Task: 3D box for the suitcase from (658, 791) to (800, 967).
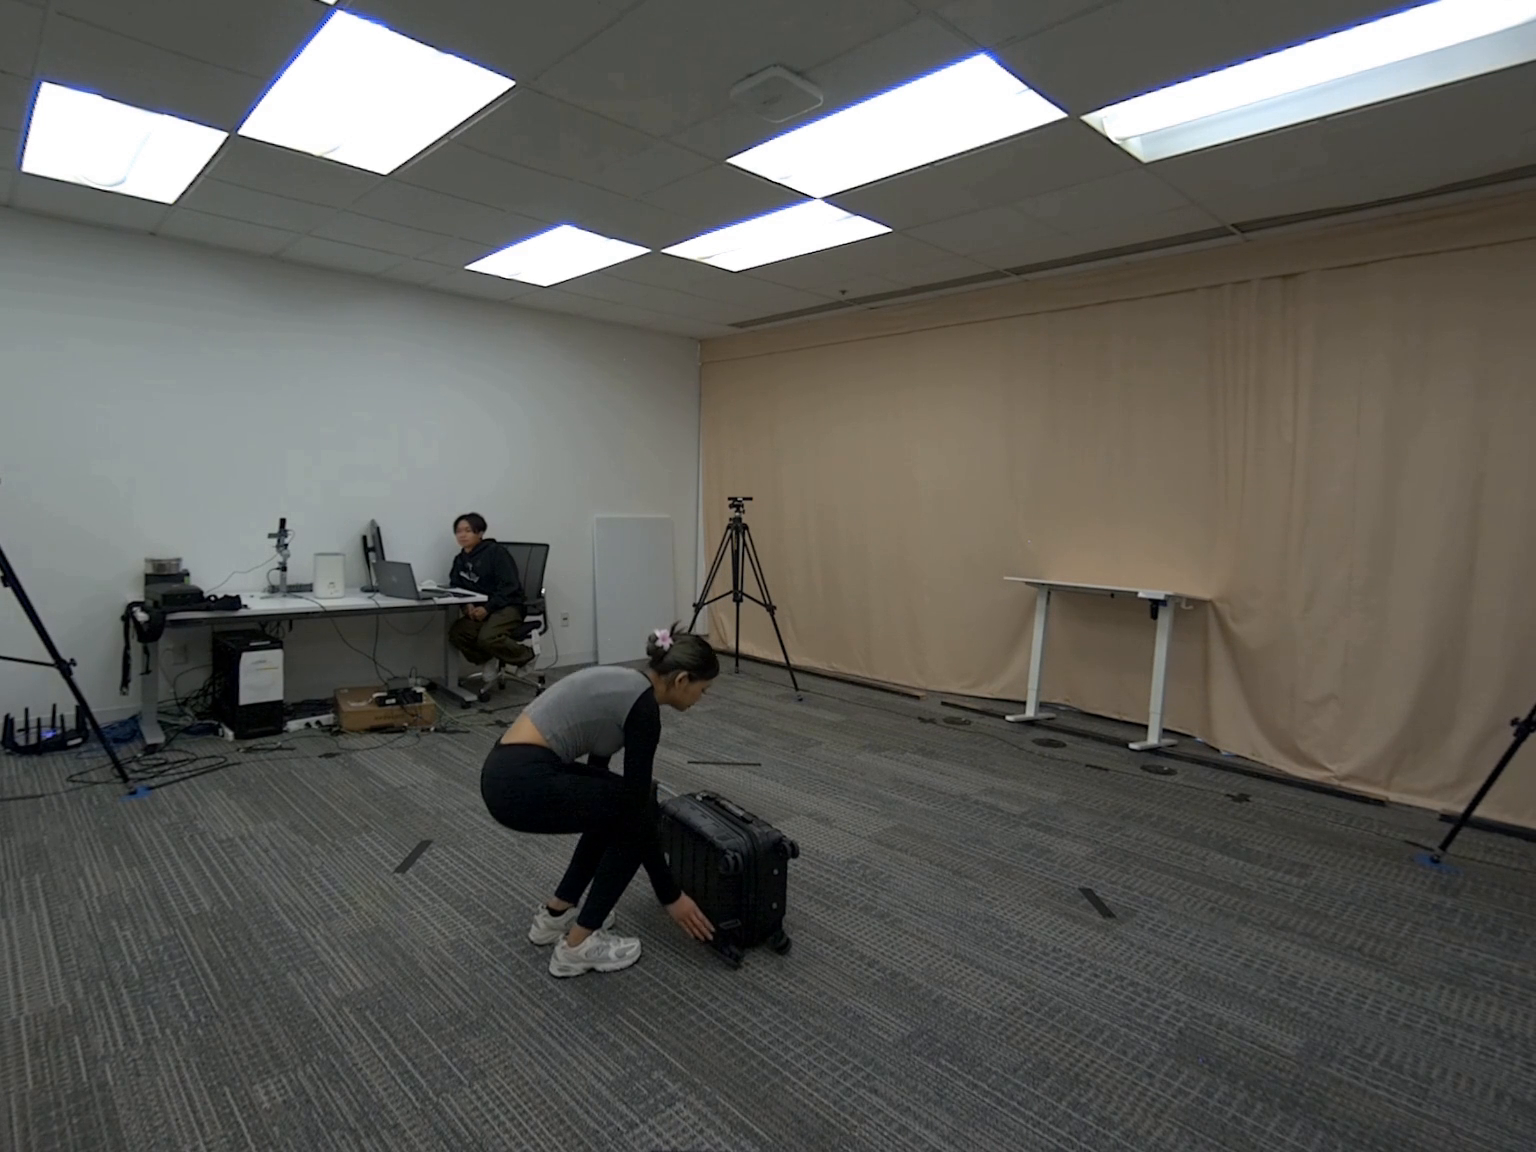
[{"bbox_3d":[-0.282,0.933,2.930,0.251,0.383,1.002,3,3,-33],"label":"suitcase"}]
